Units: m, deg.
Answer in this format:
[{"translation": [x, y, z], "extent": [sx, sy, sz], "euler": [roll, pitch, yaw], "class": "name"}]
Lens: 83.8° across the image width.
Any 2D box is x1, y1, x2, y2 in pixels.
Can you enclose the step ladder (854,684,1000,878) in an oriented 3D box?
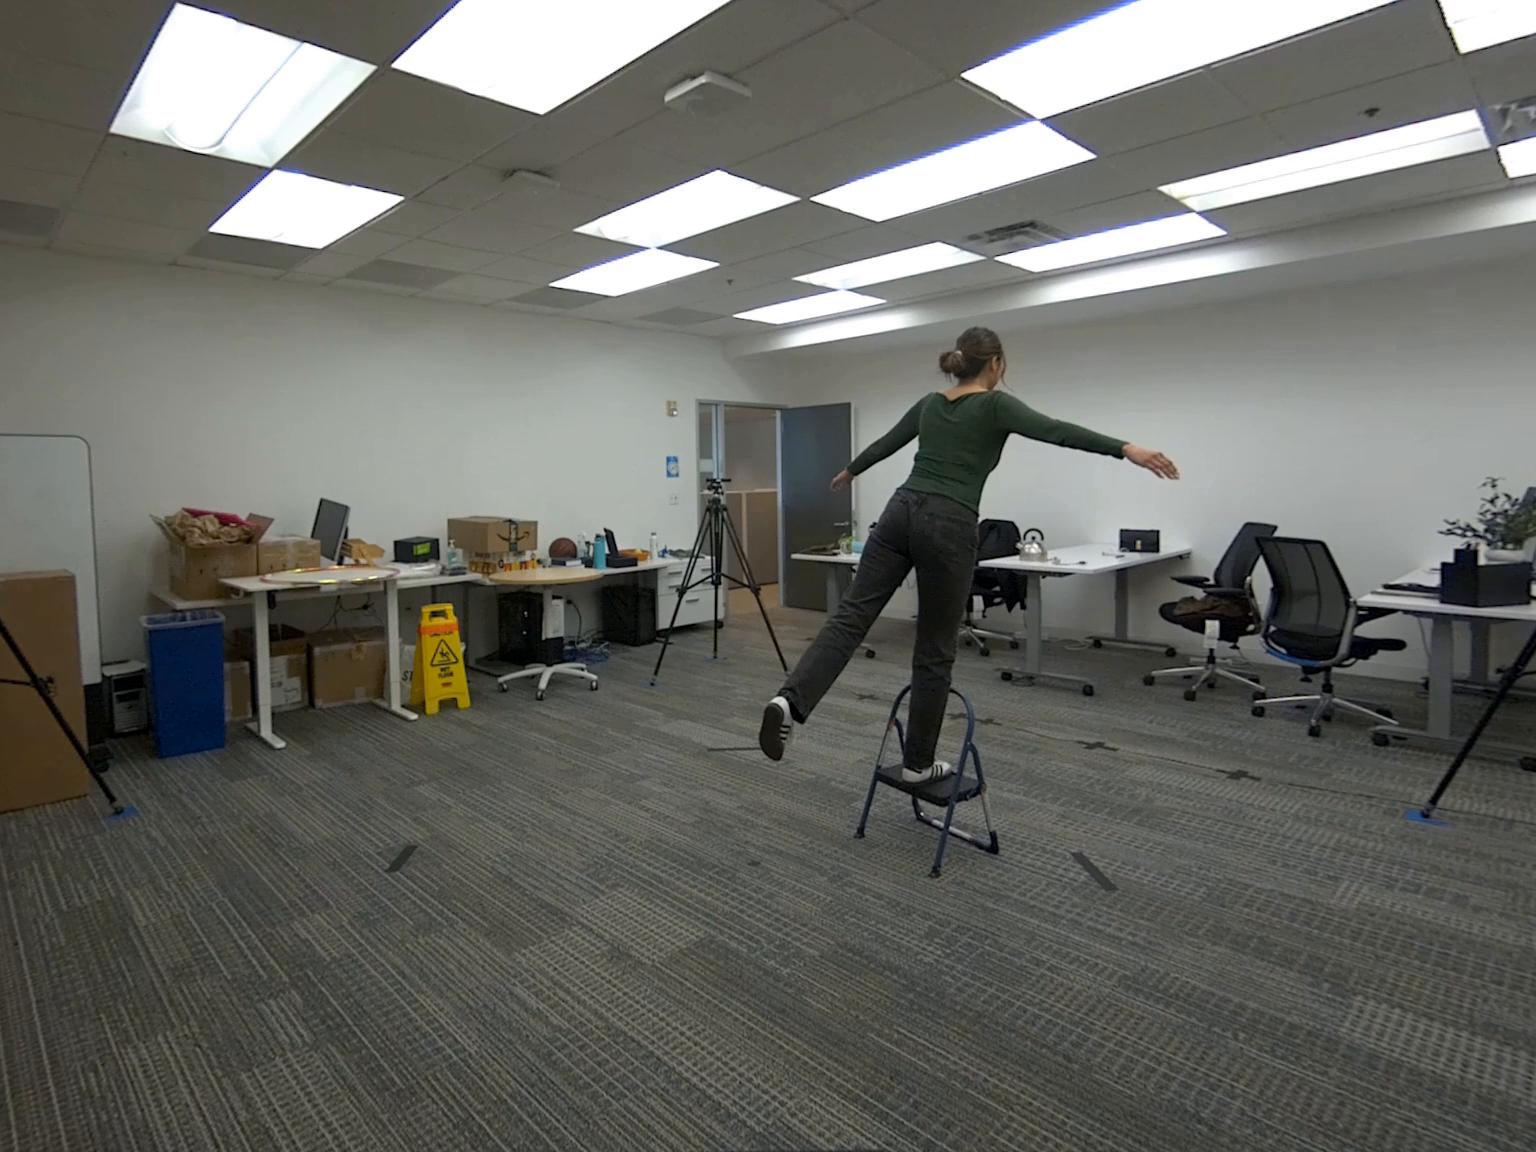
[{"translation": [0.594, 0.719, 3.218], "extent": [0.340, 0.604, 0.443], "euler": [-3, 5, -34], "class": "step ladder"}]
